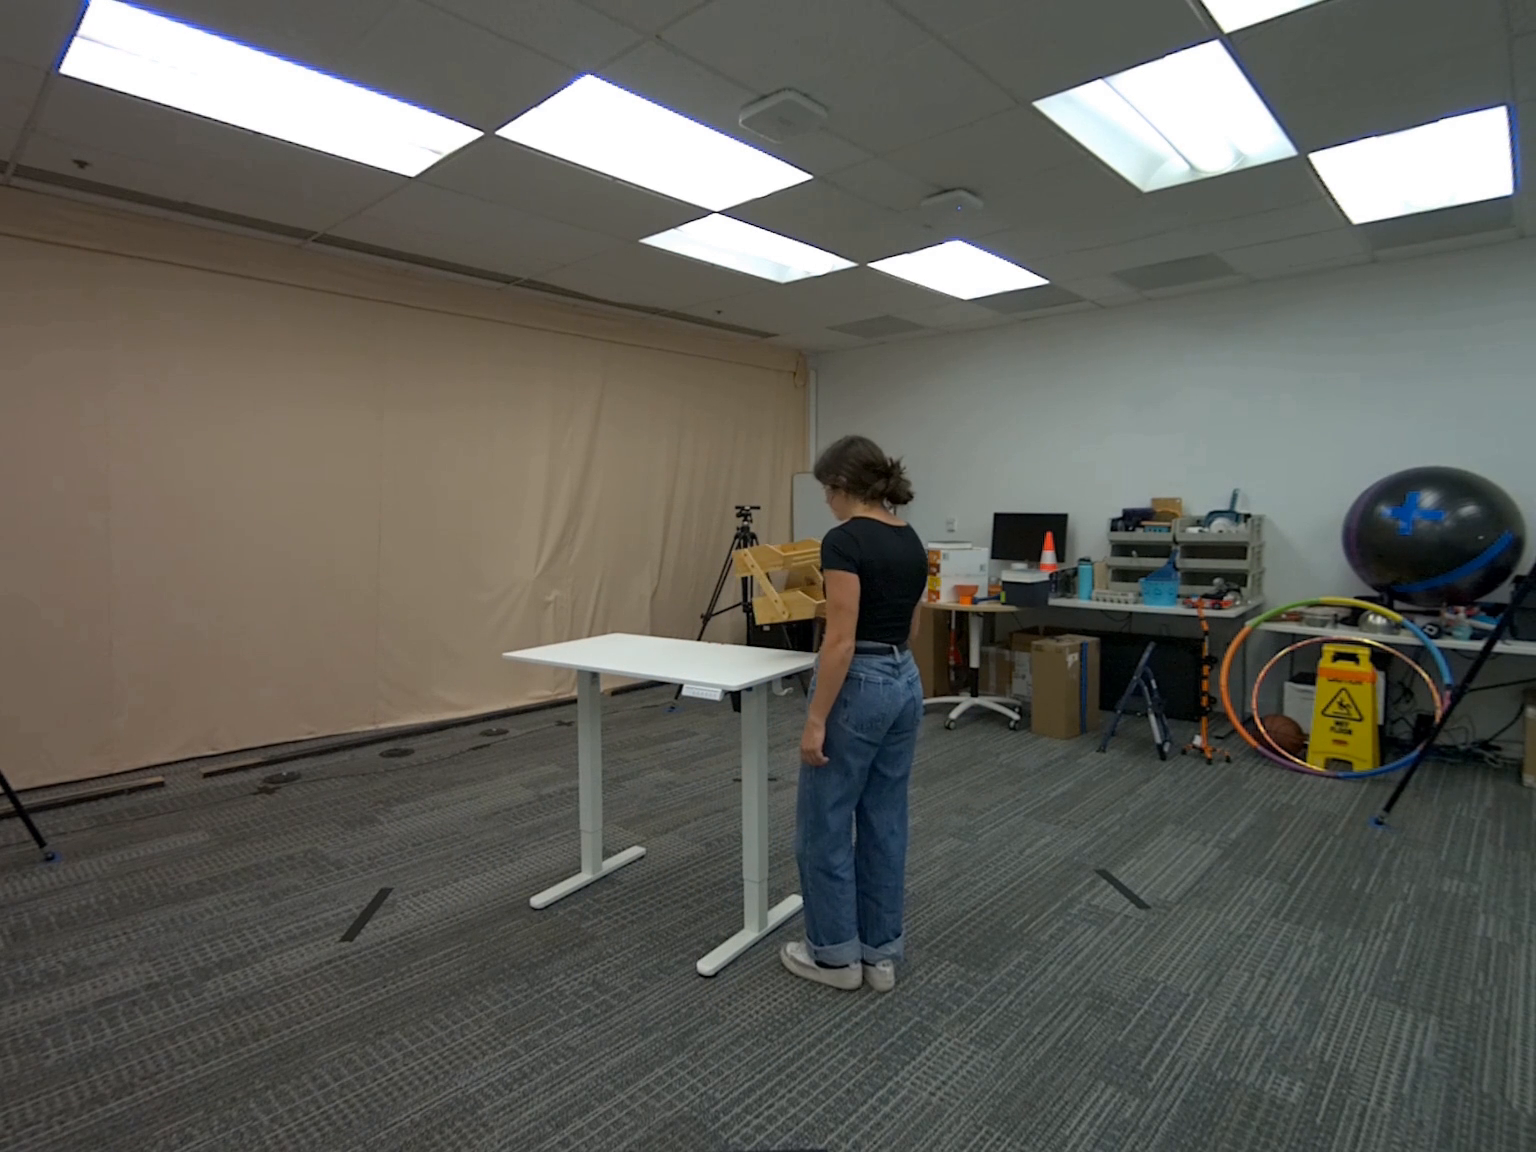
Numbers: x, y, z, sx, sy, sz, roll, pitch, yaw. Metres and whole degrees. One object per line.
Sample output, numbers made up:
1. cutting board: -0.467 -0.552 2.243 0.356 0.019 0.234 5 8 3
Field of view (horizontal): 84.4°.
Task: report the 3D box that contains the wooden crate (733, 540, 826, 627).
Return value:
1. wooden crate: 0.106 0.007 2.896 0.310 0.274 0.315 -11 -1 36
